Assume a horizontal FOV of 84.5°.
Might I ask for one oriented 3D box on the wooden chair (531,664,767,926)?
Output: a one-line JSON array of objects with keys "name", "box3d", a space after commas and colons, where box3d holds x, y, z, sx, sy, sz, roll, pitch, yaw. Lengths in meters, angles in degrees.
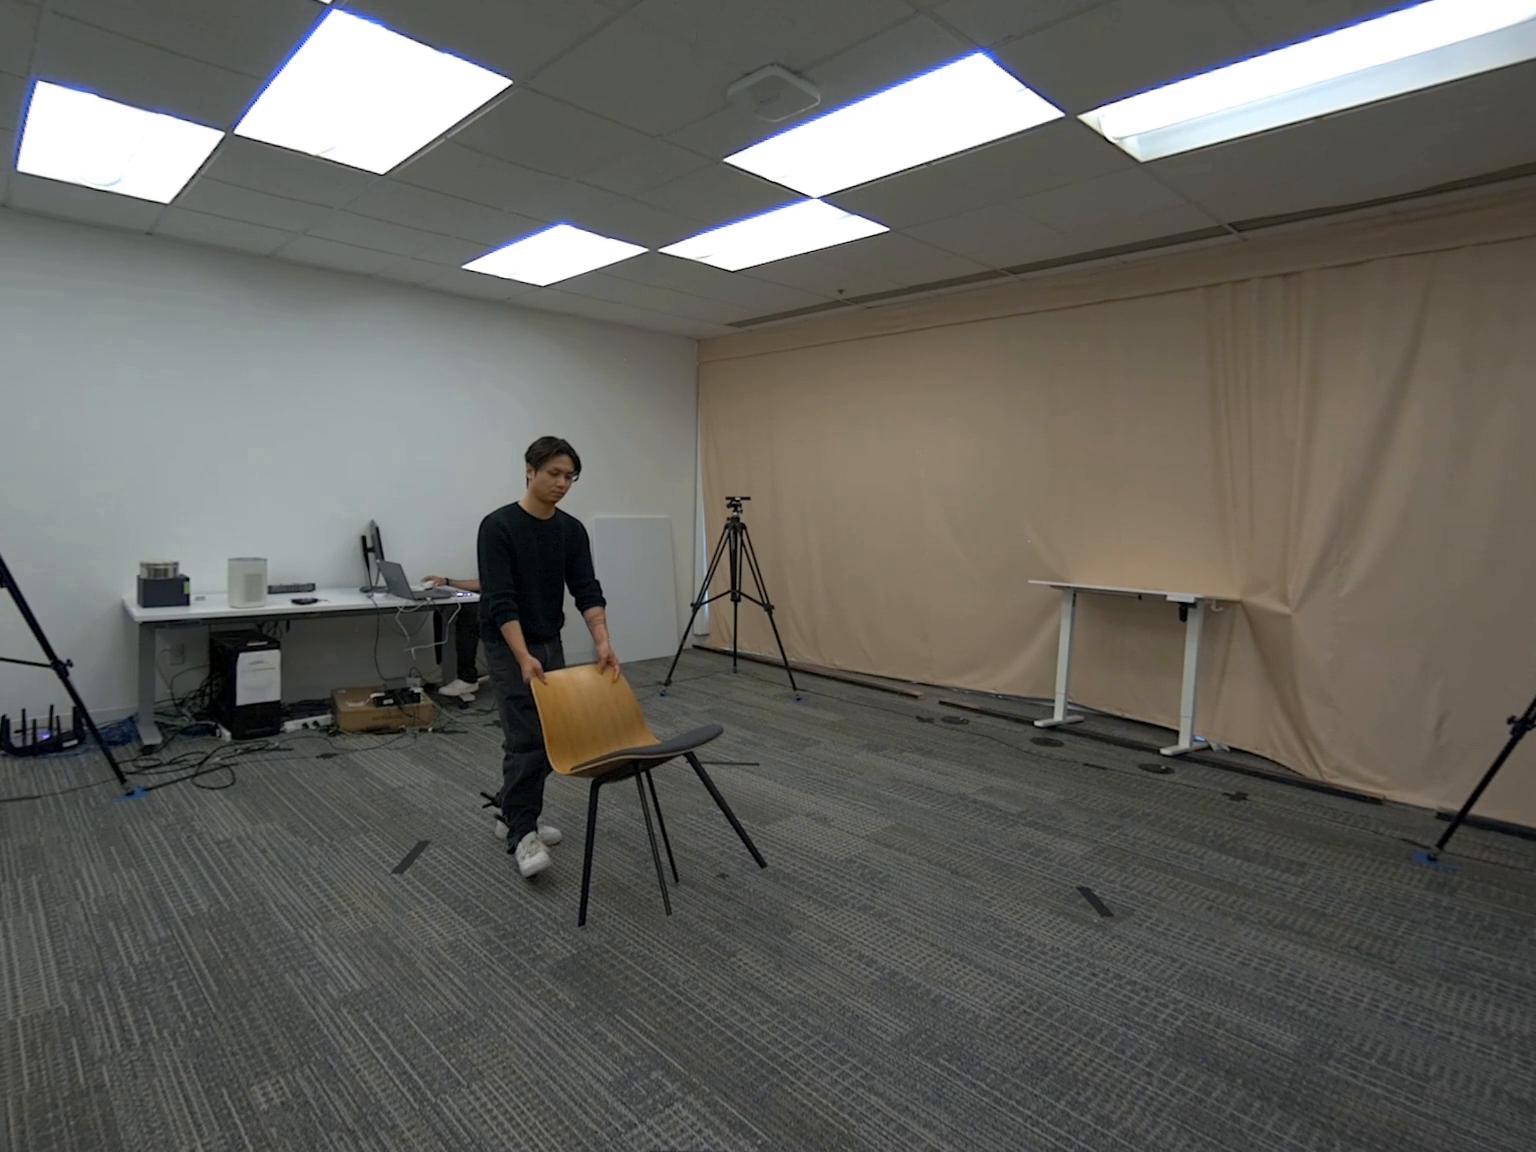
[{"name": "wooden chair", "box3d": [-0.427, 0.642, 2.815, 0.527, 0.890, 0.467, -32, -19, 37]}]
